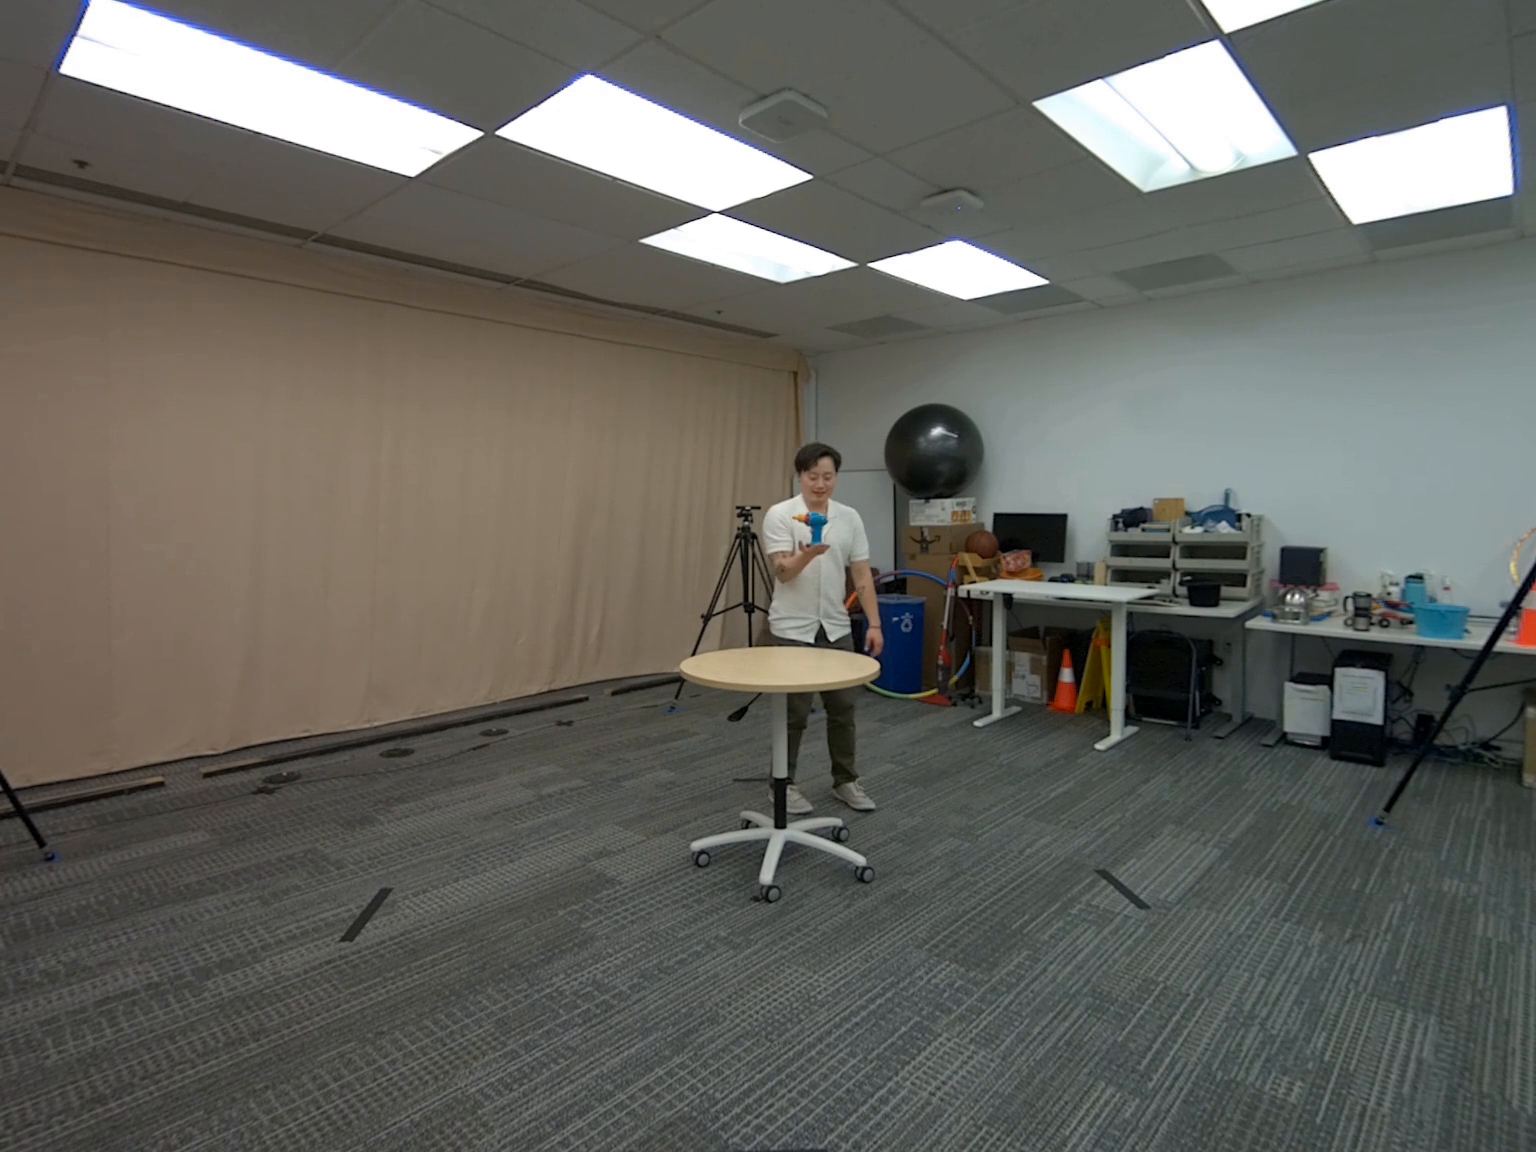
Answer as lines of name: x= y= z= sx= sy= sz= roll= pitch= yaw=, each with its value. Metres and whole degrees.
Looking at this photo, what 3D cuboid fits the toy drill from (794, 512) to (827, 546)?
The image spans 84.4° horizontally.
toy drill: x=0.172 y=-0.192 z=3.456 sx=0.166 sy=0.146 sz=0.063 roll=6 pitch=1 yaw=-24
